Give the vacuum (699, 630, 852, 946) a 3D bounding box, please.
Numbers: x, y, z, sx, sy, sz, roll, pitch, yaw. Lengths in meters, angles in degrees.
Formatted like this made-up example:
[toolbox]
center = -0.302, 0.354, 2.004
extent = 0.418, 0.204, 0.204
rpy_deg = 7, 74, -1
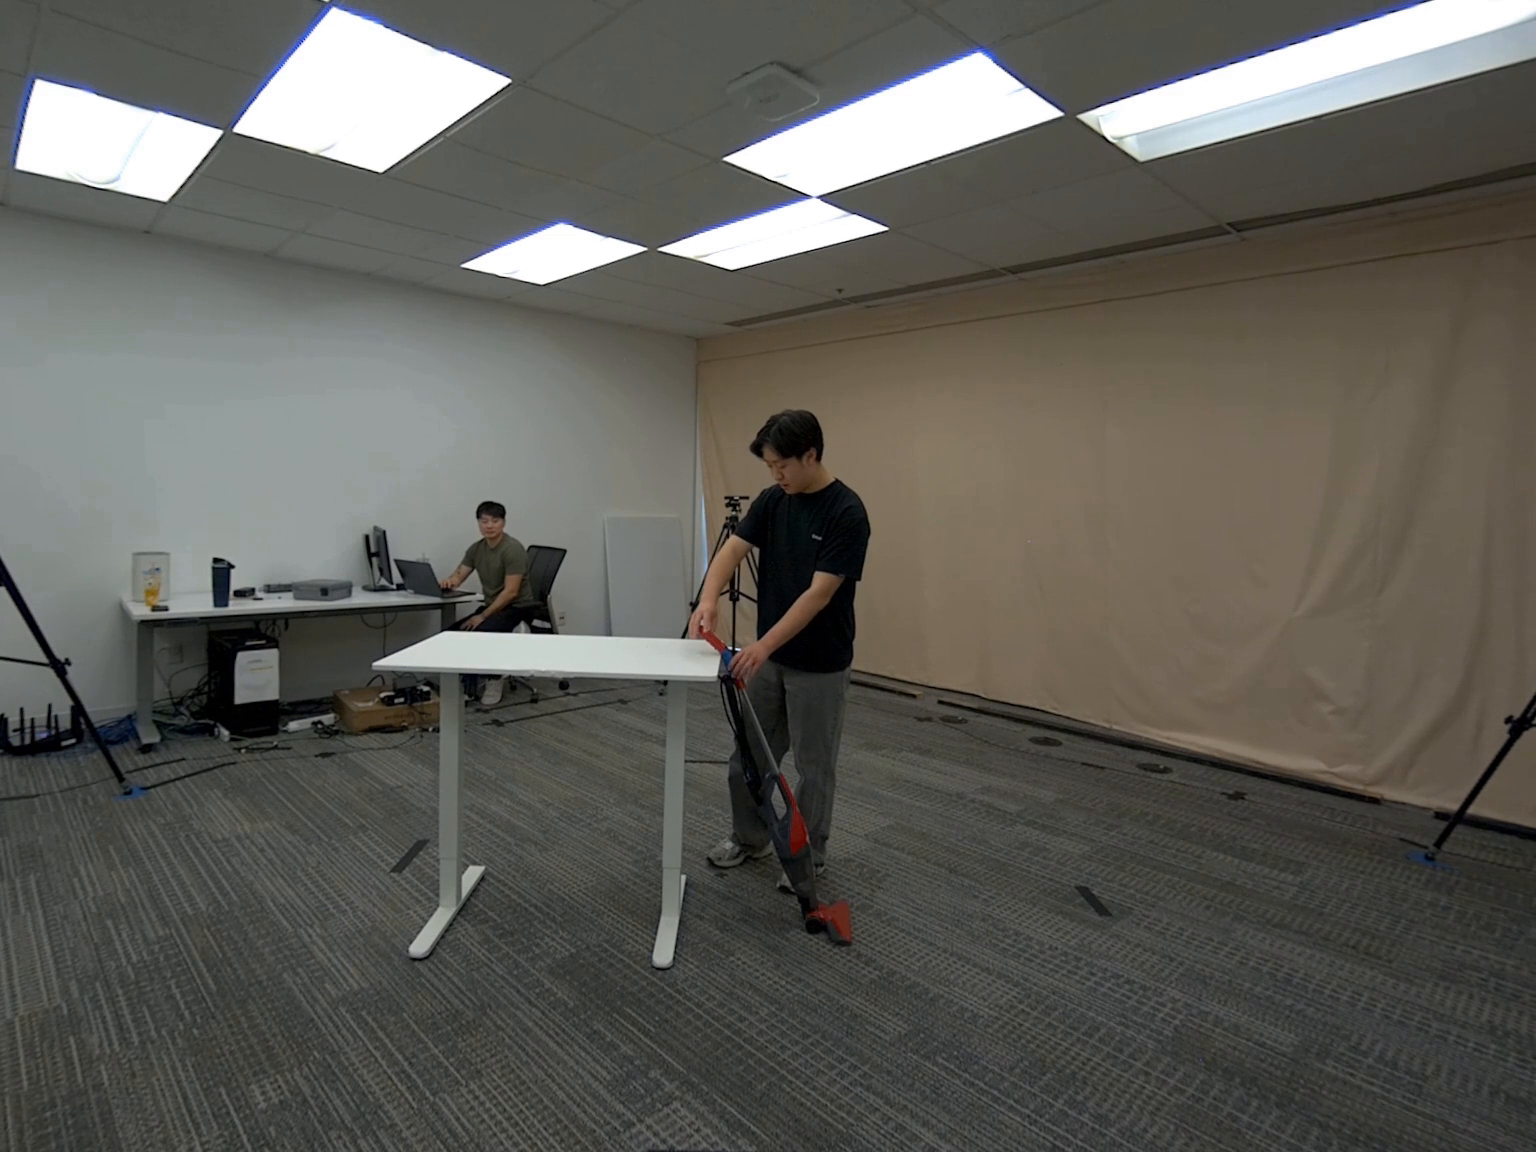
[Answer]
[vacuum]
center = -0.018, 0.656, 2.751
extent = 0.144, 1.050, 0.252
rpy_deg = -23, -1, 2
